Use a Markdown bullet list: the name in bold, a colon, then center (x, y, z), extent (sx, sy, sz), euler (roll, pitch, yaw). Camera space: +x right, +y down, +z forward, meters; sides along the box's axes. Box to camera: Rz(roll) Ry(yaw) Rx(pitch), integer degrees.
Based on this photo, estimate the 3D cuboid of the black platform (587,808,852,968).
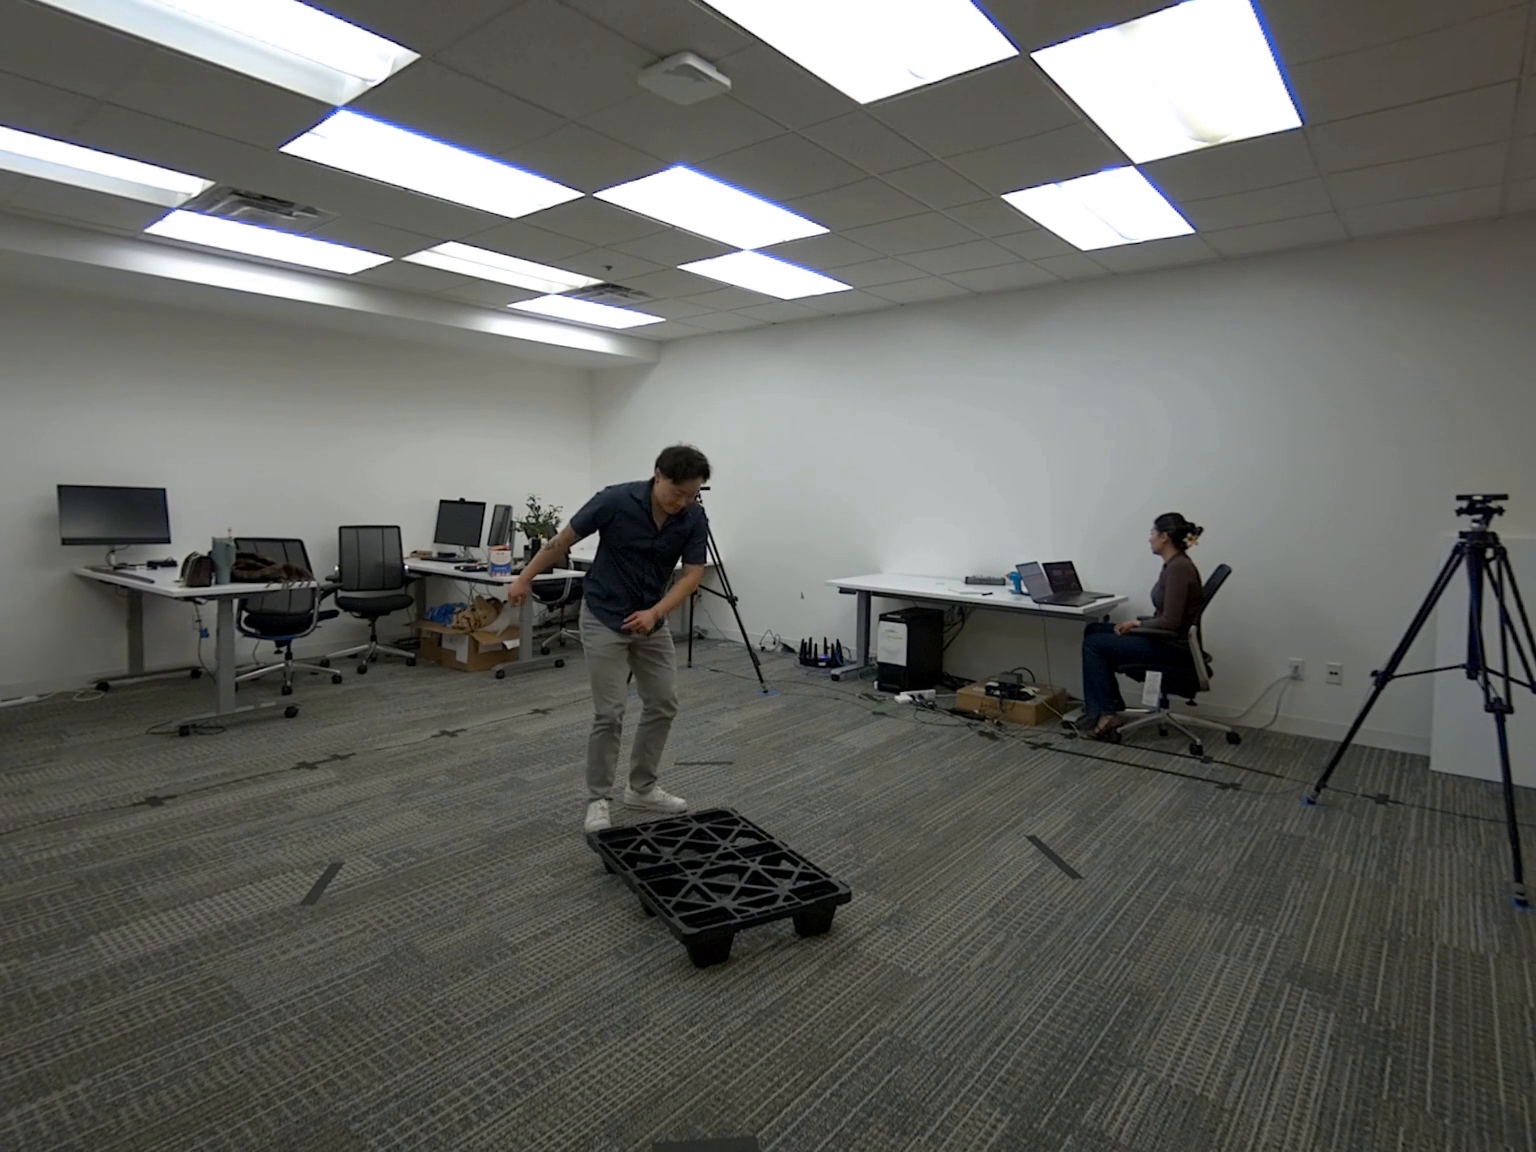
- **black platform**: center (-0.204, 1.023, 2.873), extent (0.589, 0.143, 0.830), euler (-3, 7, -31)
